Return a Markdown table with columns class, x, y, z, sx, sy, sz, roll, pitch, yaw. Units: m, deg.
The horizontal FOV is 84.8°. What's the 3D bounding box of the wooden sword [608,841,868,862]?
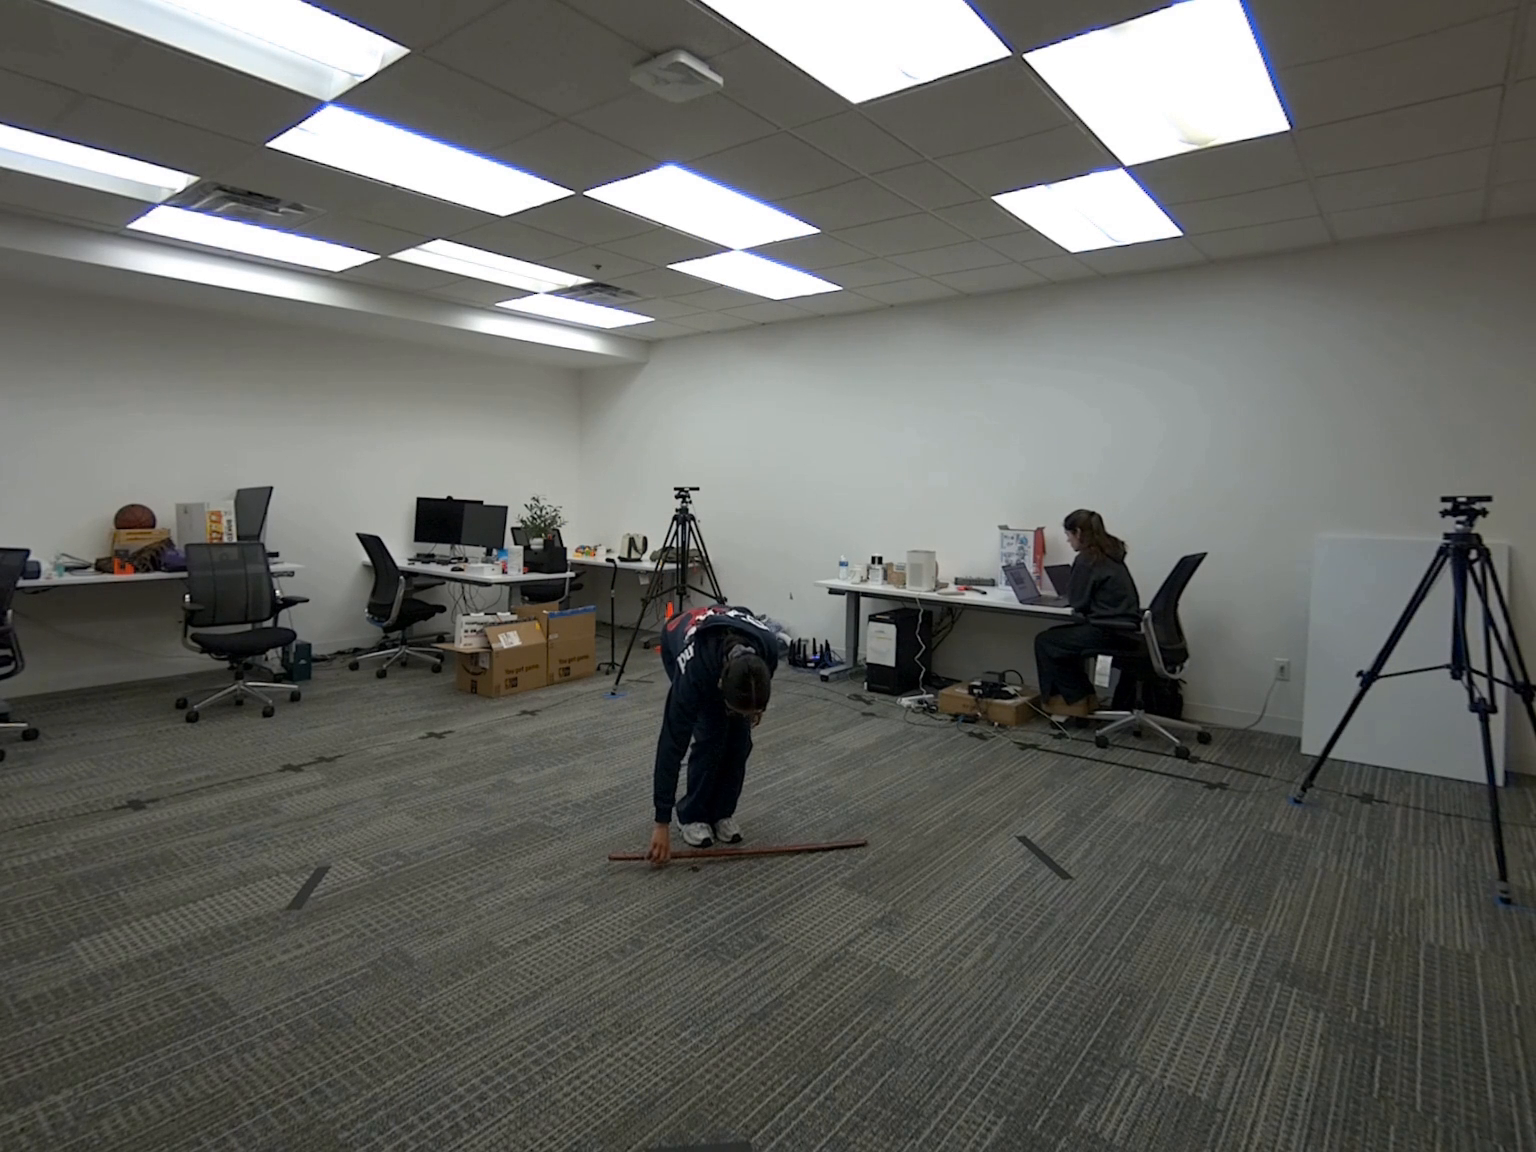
| class | x | y | z | sx | sy | sz | roll | pitch | yaw |
| --- | --- | --- | --- | --- | --- | --- | --- | --- | --- |
| wooden sword | -0.092 | 1.031 | 3.204 | 1.008 | 0.024 | 0.052 | 1 | 7 | -15 |
